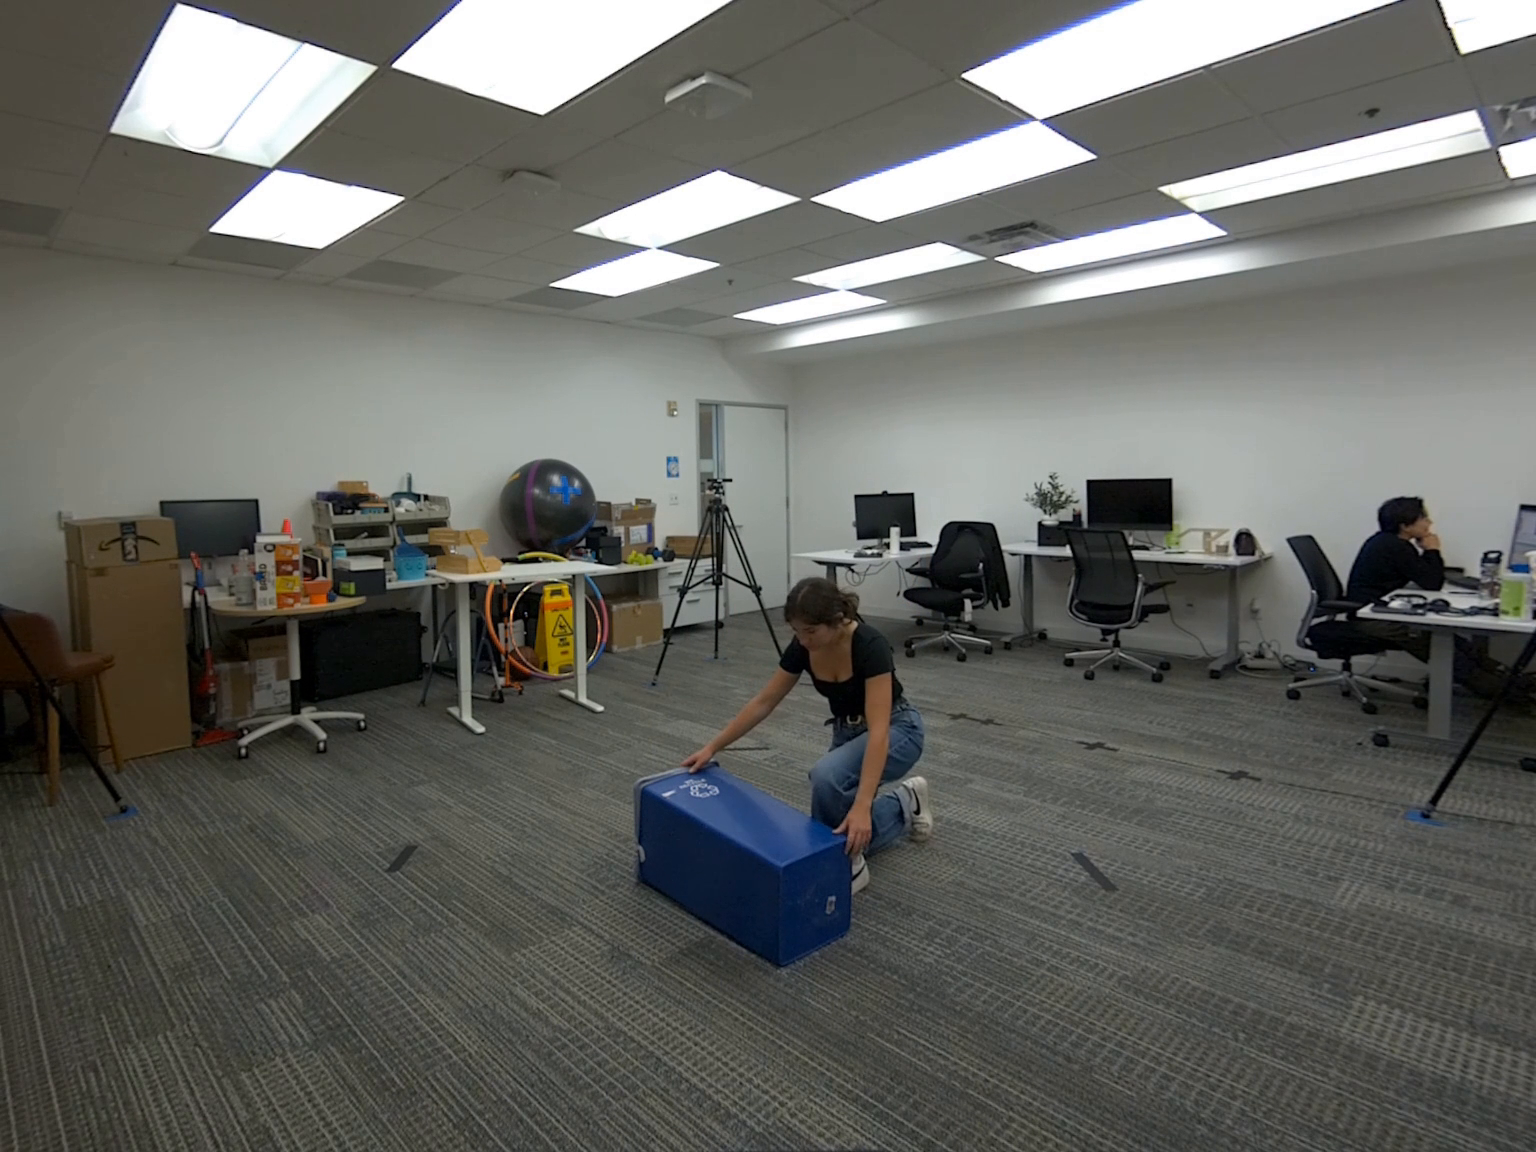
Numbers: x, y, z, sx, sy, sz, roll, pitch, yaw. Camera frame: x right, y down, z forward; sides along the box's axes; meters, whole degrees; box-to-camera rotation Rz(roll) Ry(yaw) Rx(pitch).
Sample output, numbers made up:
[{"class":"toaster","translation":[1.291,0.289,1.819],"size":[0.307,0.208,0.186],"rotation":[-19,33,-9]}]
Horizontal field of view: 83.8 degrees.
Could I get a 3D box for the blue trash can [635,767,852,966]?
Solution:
[{"class":"blue trash can","translation":[-0.090,0.917,2.787],"size":[0.364,0.376,0.737],"rotation":[-5,10,-40]}]
